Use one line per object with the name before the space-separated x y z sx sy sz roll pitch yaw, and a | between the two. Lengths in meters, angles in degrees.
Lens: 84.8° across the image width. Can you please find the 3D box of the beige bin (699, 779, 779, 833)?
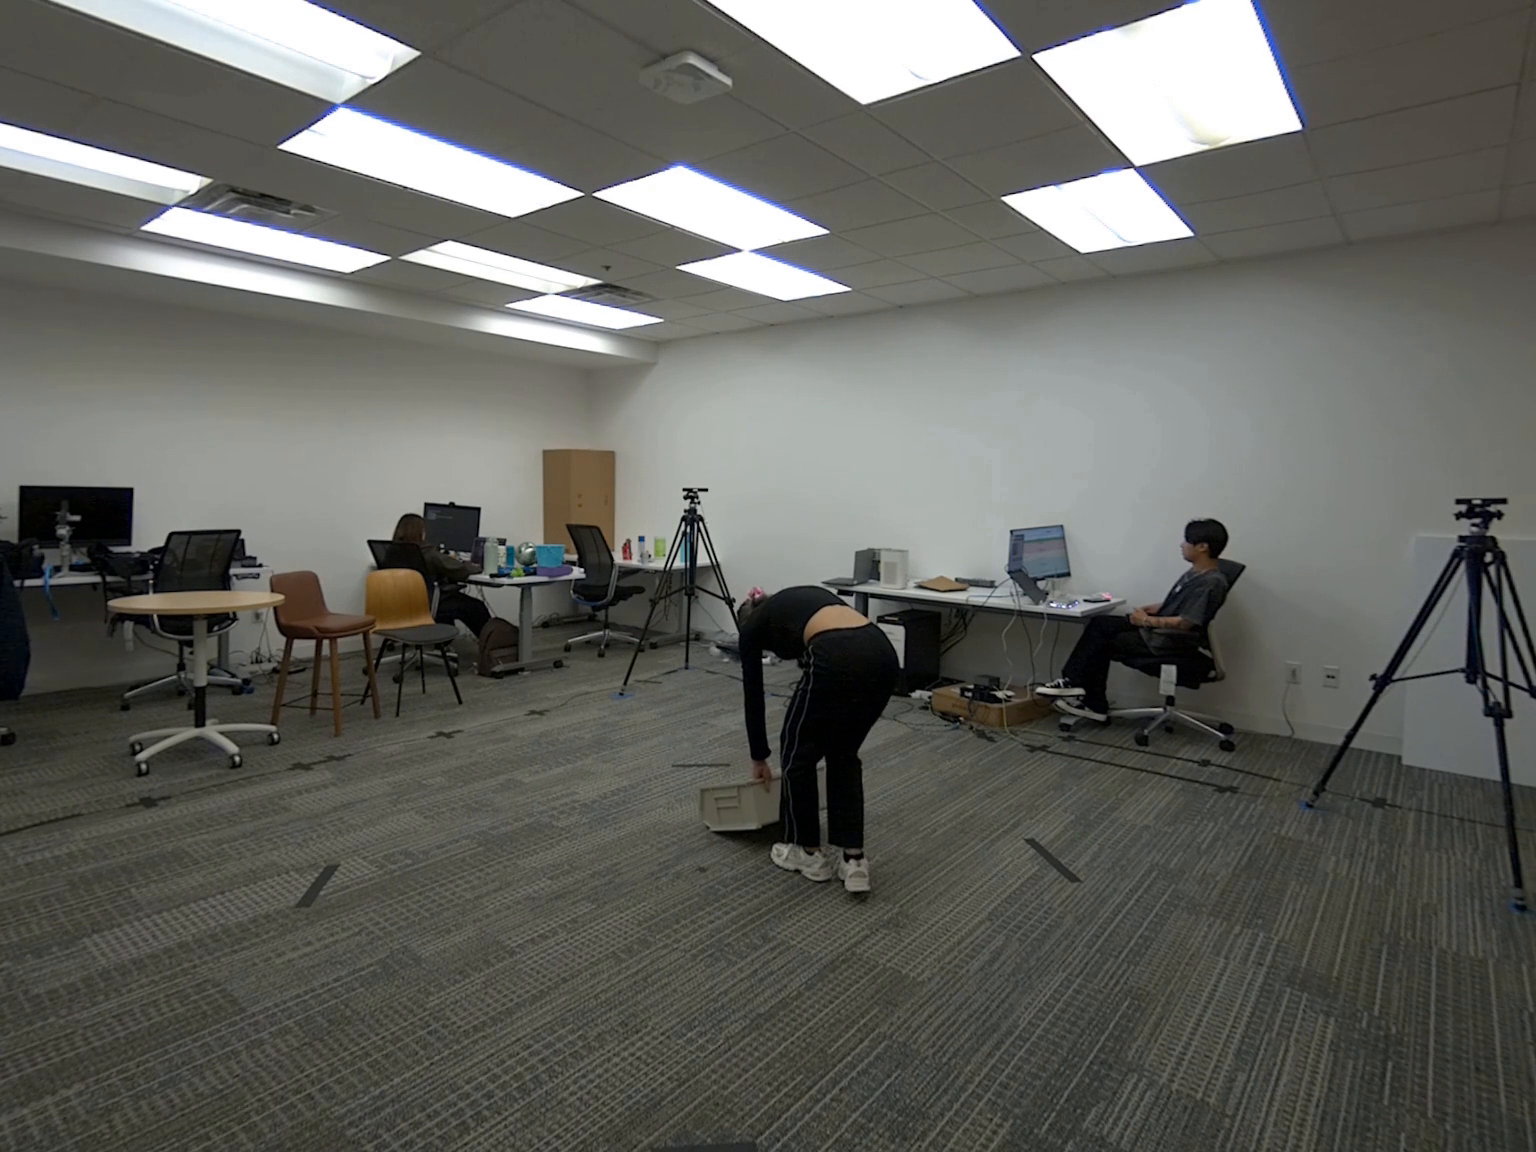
beige bin | -0.025 0.903 3.494 0.410 0.191 0.384 -2 -12 -37
